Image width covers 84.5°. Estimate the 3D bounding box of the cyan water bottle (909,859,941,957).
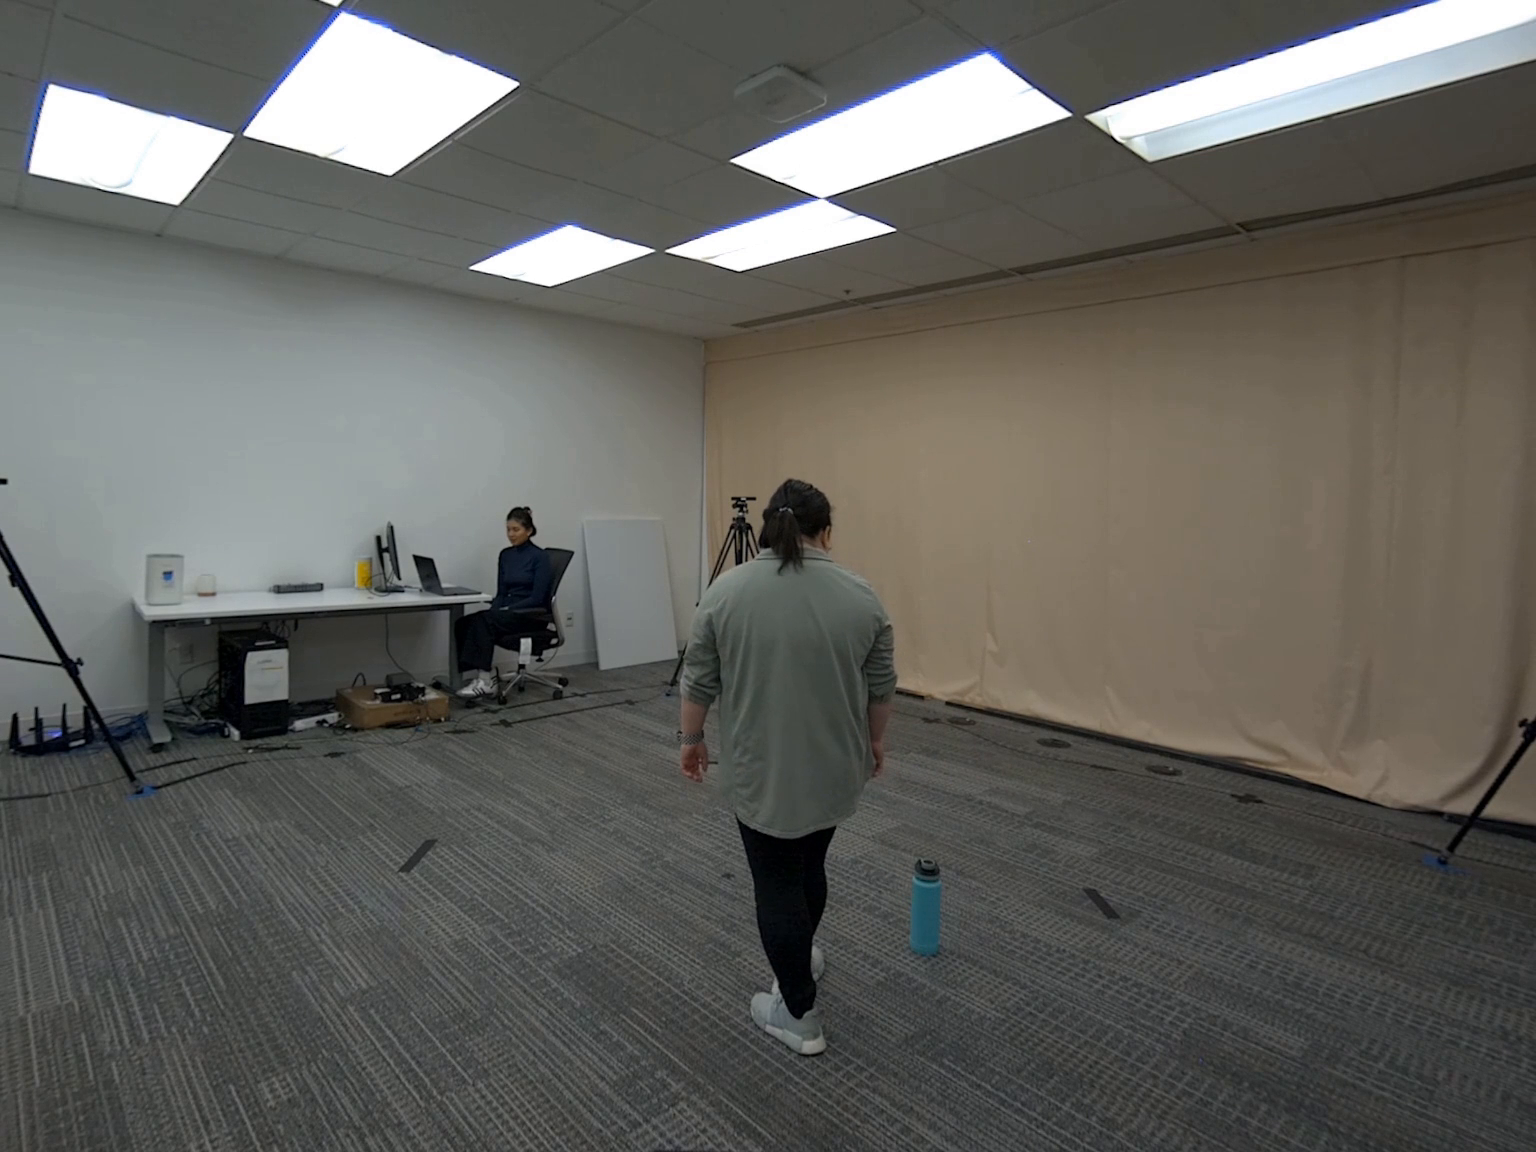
[{"bbox_3d":[0.486,1.028,2.624,0.092,0.283,0.092,2,3,-1],"label":"cyan water bottle"}]
